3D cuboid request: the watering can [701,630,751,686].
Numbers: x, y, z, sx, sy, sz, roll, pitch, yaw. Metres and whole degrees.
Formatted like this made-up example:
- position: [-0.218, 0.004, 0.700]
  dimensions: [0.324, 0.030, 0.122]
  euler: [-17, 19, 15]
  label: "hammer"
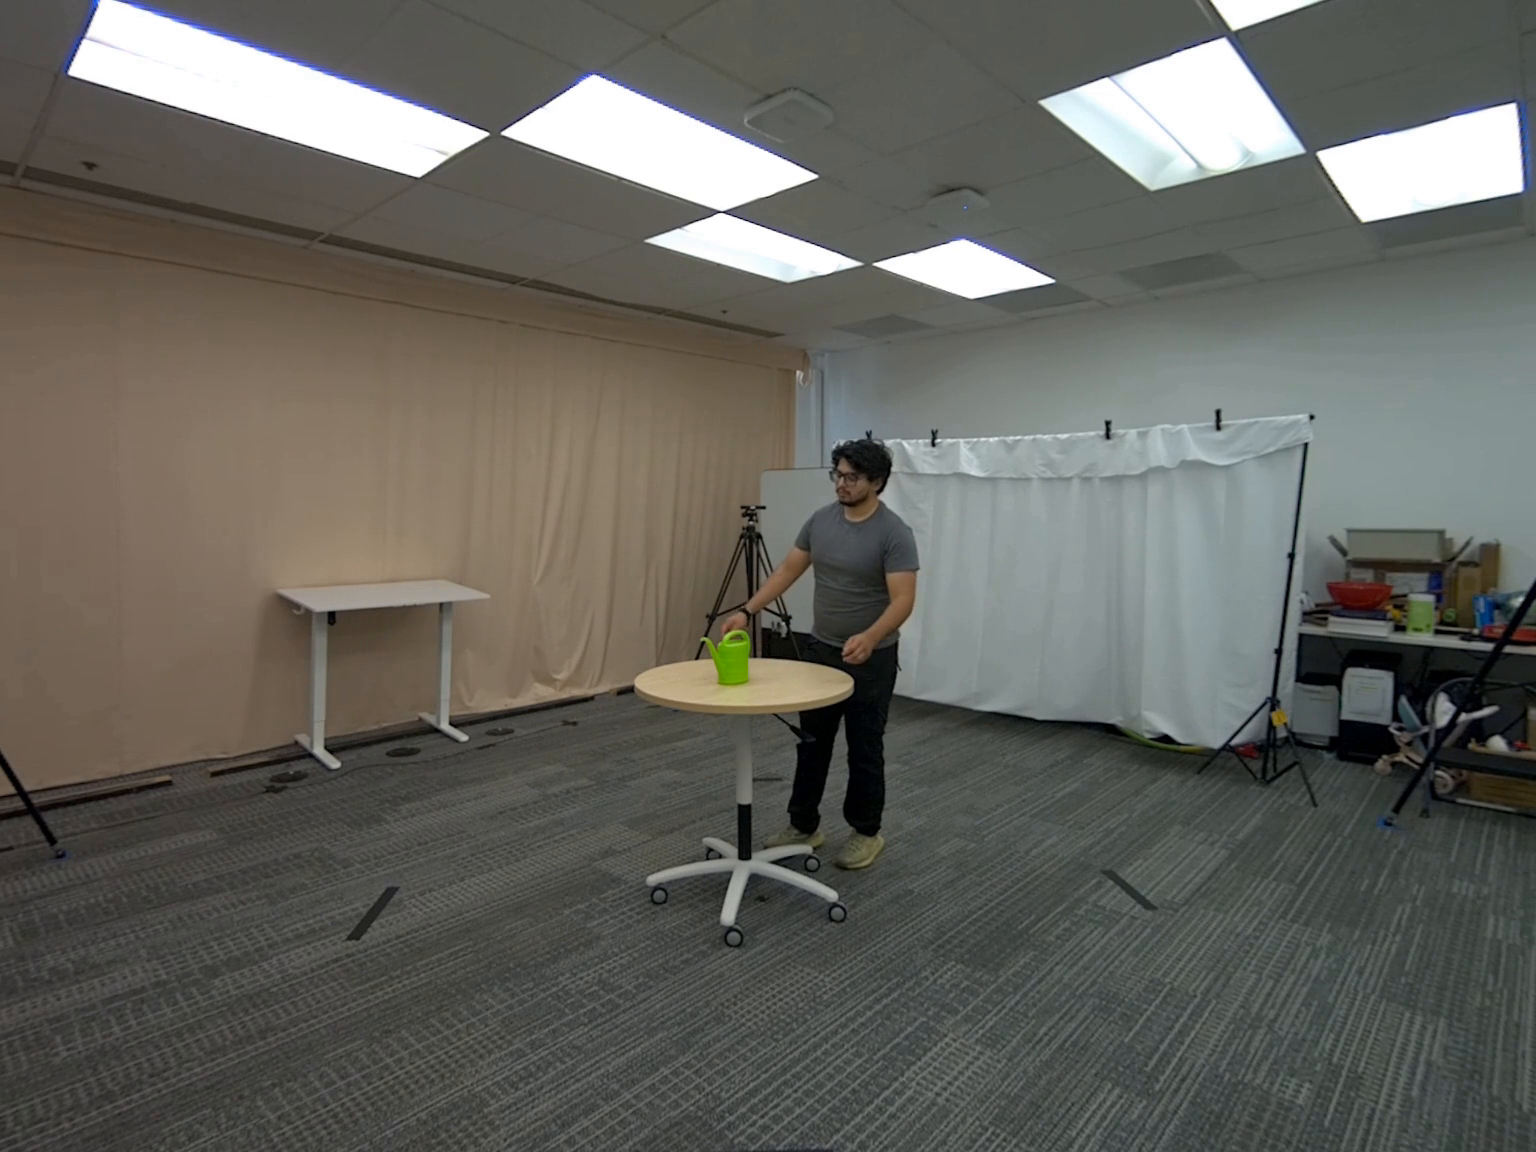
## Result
- position: [-0.145, 0.284, 2.885]
  dimensions: [0.270, 0.176, 0.101]
  euler: [-4, 4, -44]
  label: "watering can"
